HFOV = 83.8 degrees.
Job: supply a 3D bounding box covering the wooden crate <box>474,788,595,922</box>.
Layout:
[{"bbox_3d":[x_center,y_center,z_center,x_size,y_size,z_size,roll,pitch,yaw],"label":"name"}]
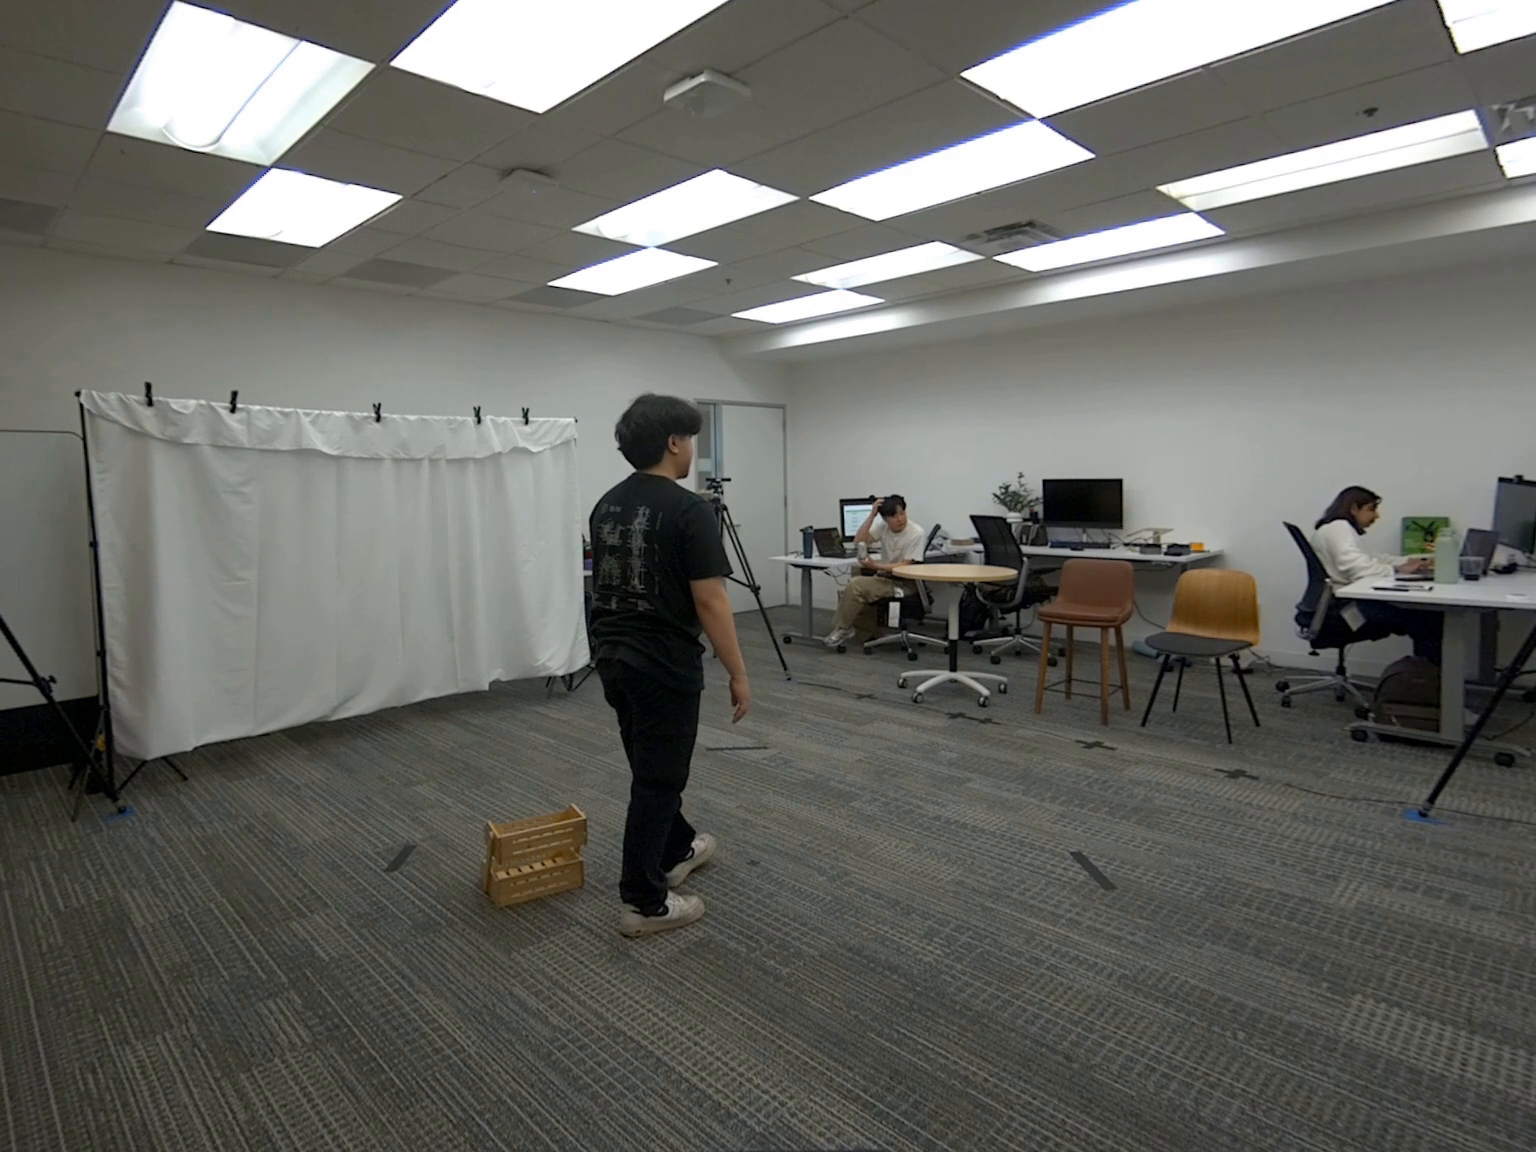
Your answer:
[{"bbox_3d":[-0.814,0.946,2.961,0.317,0.272,0.310,-5,7,-29],"label":"wooden crate"}]
